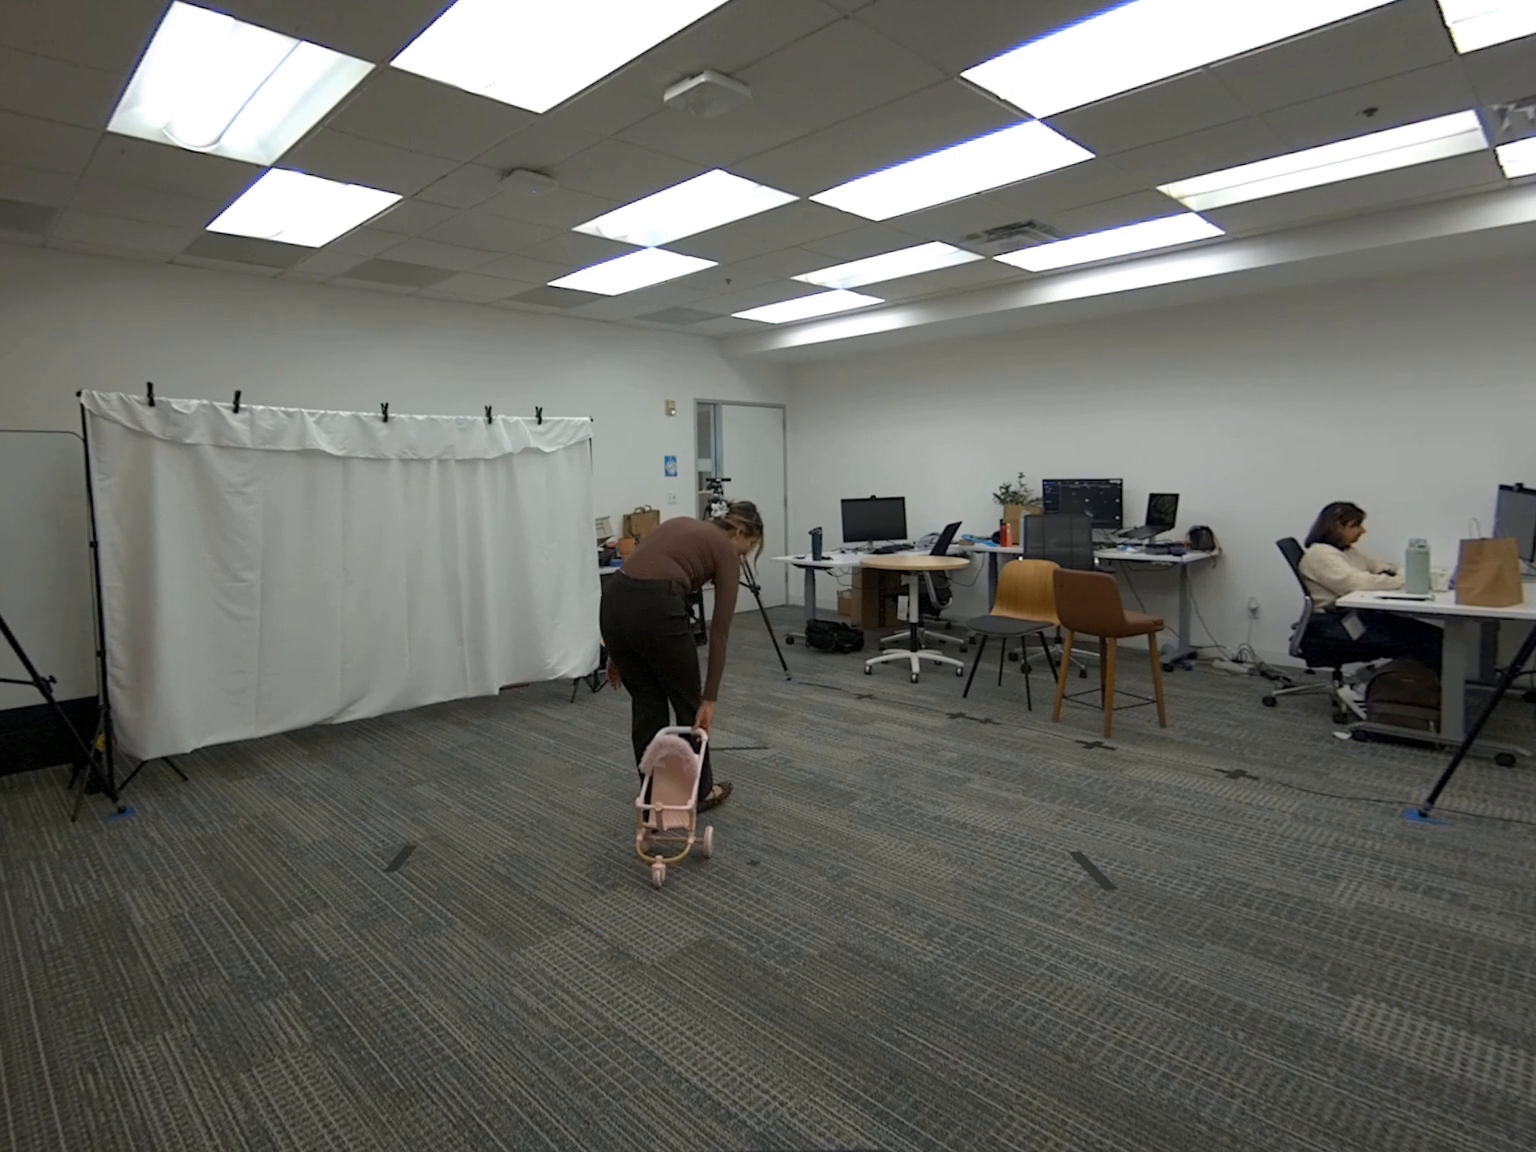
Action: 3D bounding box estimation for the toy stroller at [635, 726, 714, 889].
[{"bbox_3d":[-0.361,0.826,3.111,0.285,0.540,0.333,-1,-11,13],"label":"toy stroller"}]
